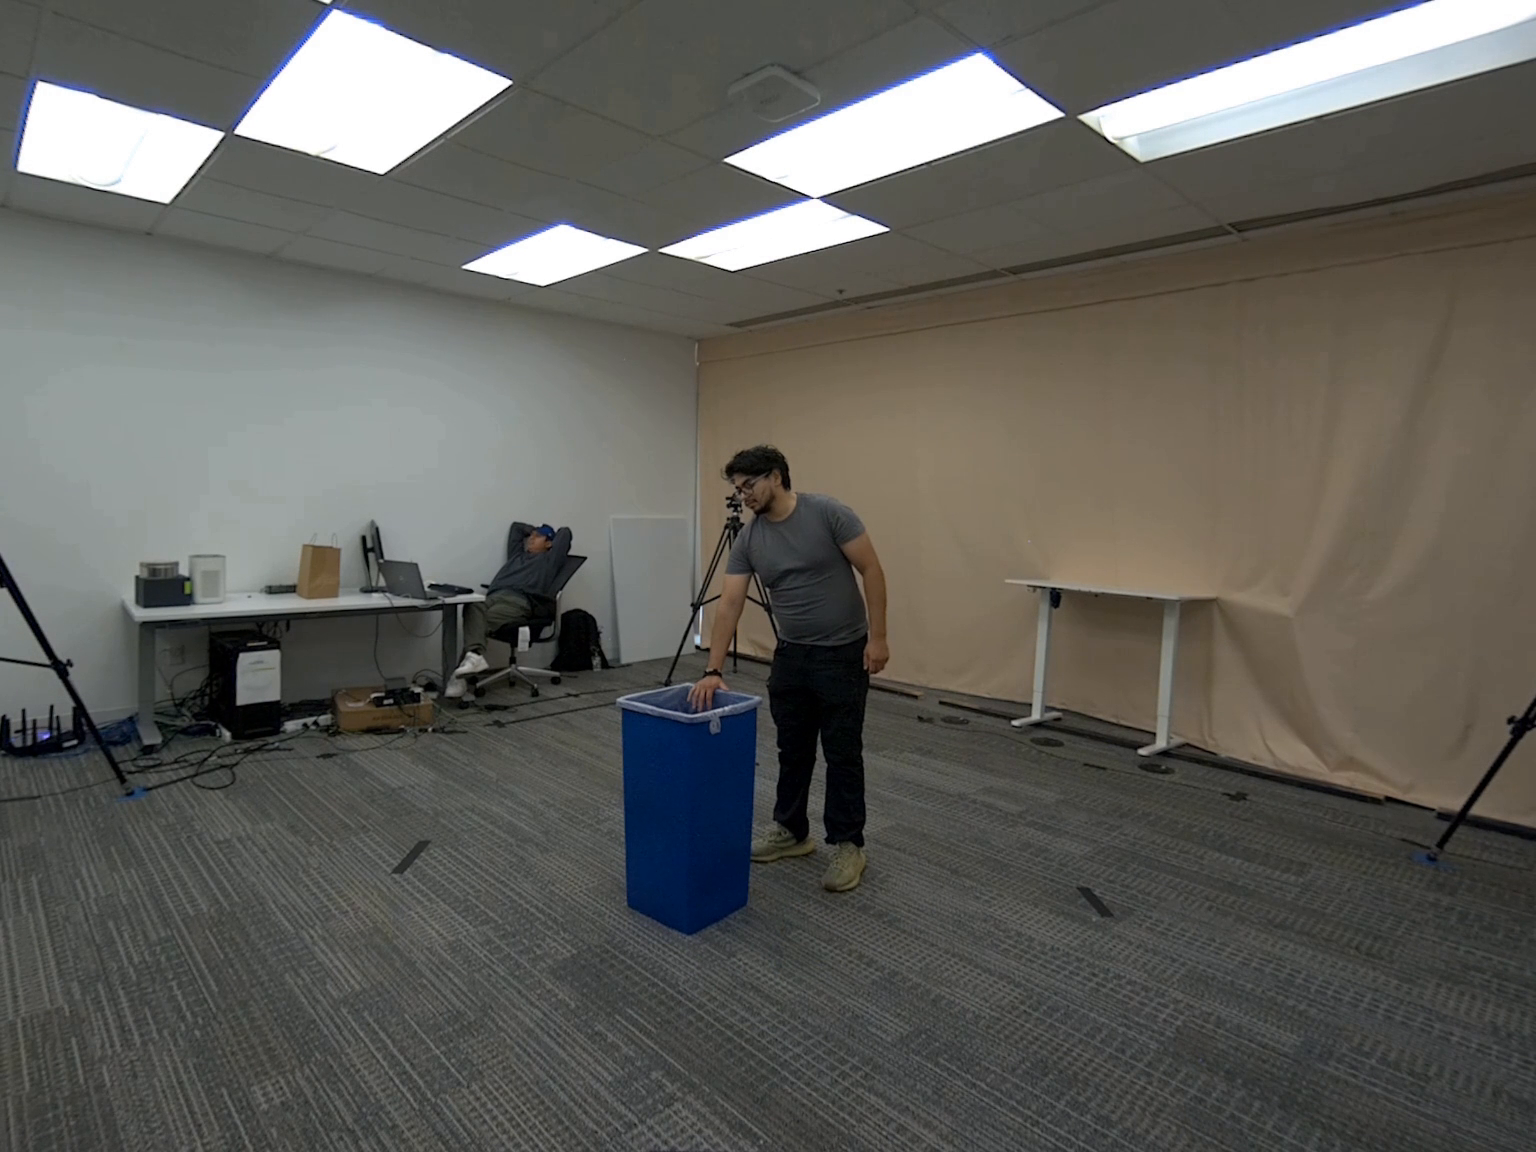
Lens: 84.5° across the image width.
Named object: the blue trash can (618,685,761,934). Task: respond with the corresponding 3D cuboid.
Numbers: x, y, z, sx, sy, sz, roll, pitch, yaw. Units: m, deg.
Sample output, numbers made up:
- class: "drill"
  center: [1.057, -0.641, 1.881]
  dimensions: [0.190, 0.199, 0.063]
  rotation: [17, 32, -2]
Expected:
- class: "blue trash can"
  center: [-0.283, 0.767, 2.861]
  dimensions: [0.383, 0.712, 0.369]
  rotation: [4, 4, 40]
